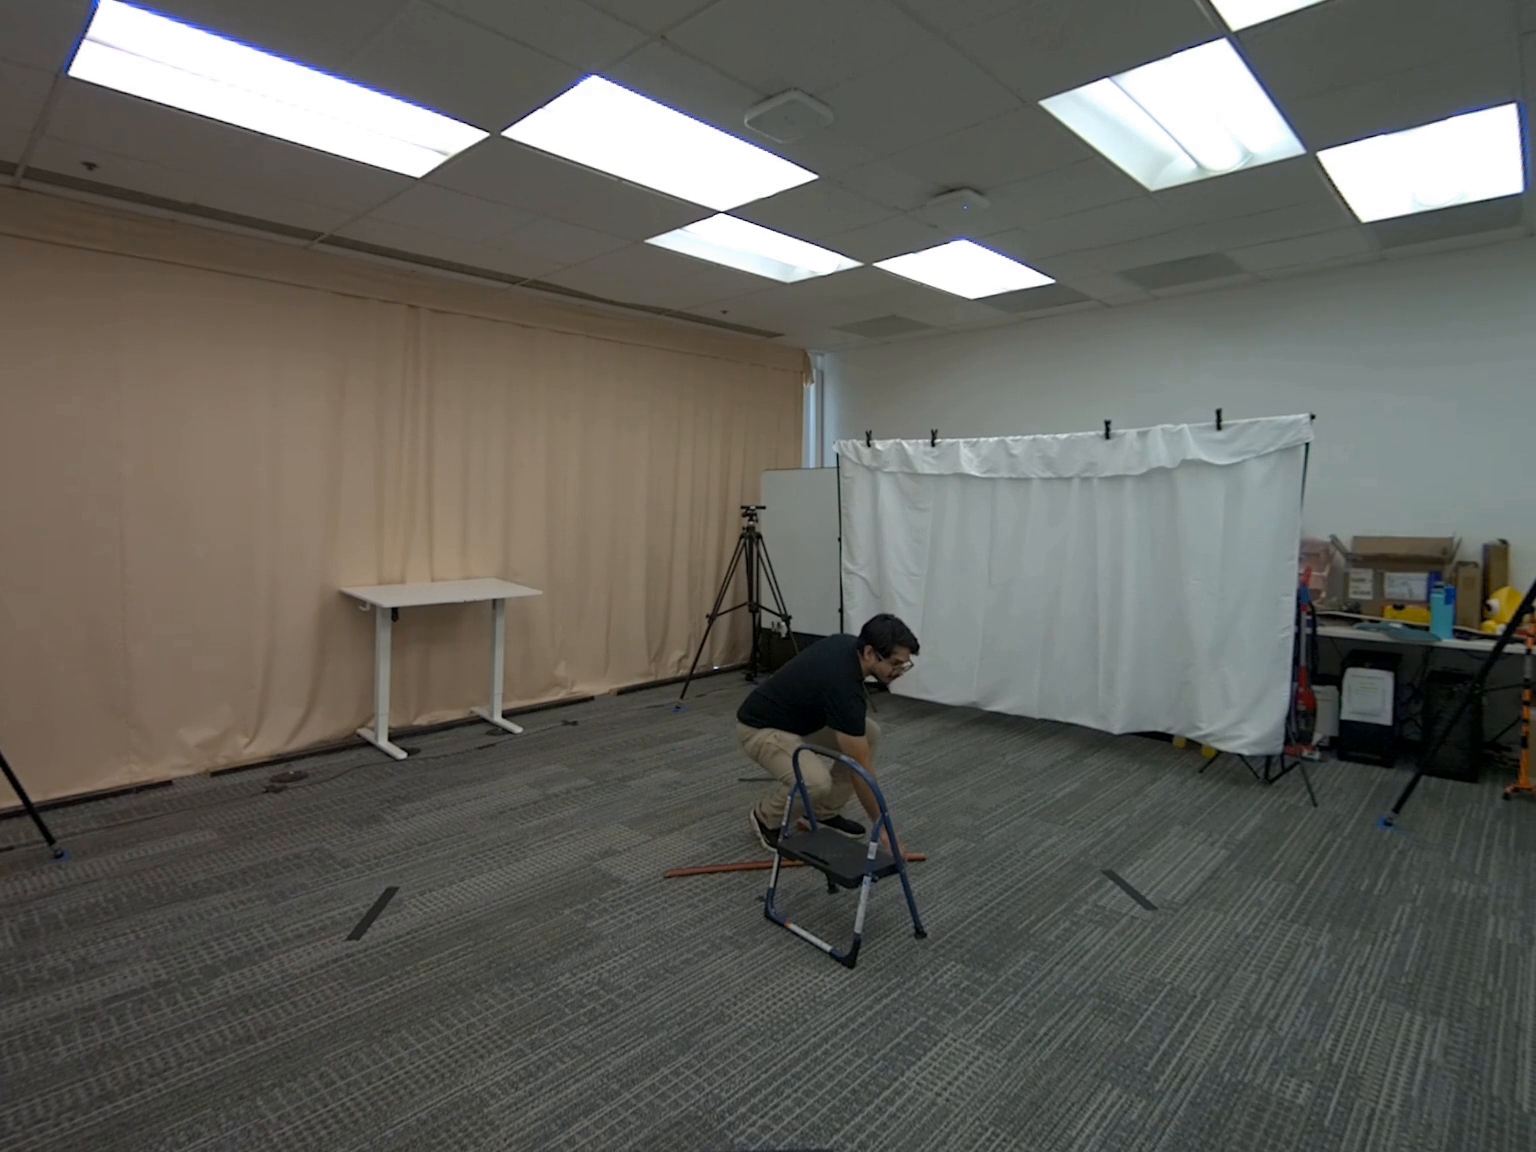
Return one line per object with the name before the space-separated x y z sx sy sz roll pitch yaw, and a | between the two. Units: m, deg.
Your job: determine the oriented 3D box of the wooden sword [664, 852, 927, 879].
wooden sword | 0.114 1.094 3.243 1.017 0.024 0.051 -3 -22 -7
